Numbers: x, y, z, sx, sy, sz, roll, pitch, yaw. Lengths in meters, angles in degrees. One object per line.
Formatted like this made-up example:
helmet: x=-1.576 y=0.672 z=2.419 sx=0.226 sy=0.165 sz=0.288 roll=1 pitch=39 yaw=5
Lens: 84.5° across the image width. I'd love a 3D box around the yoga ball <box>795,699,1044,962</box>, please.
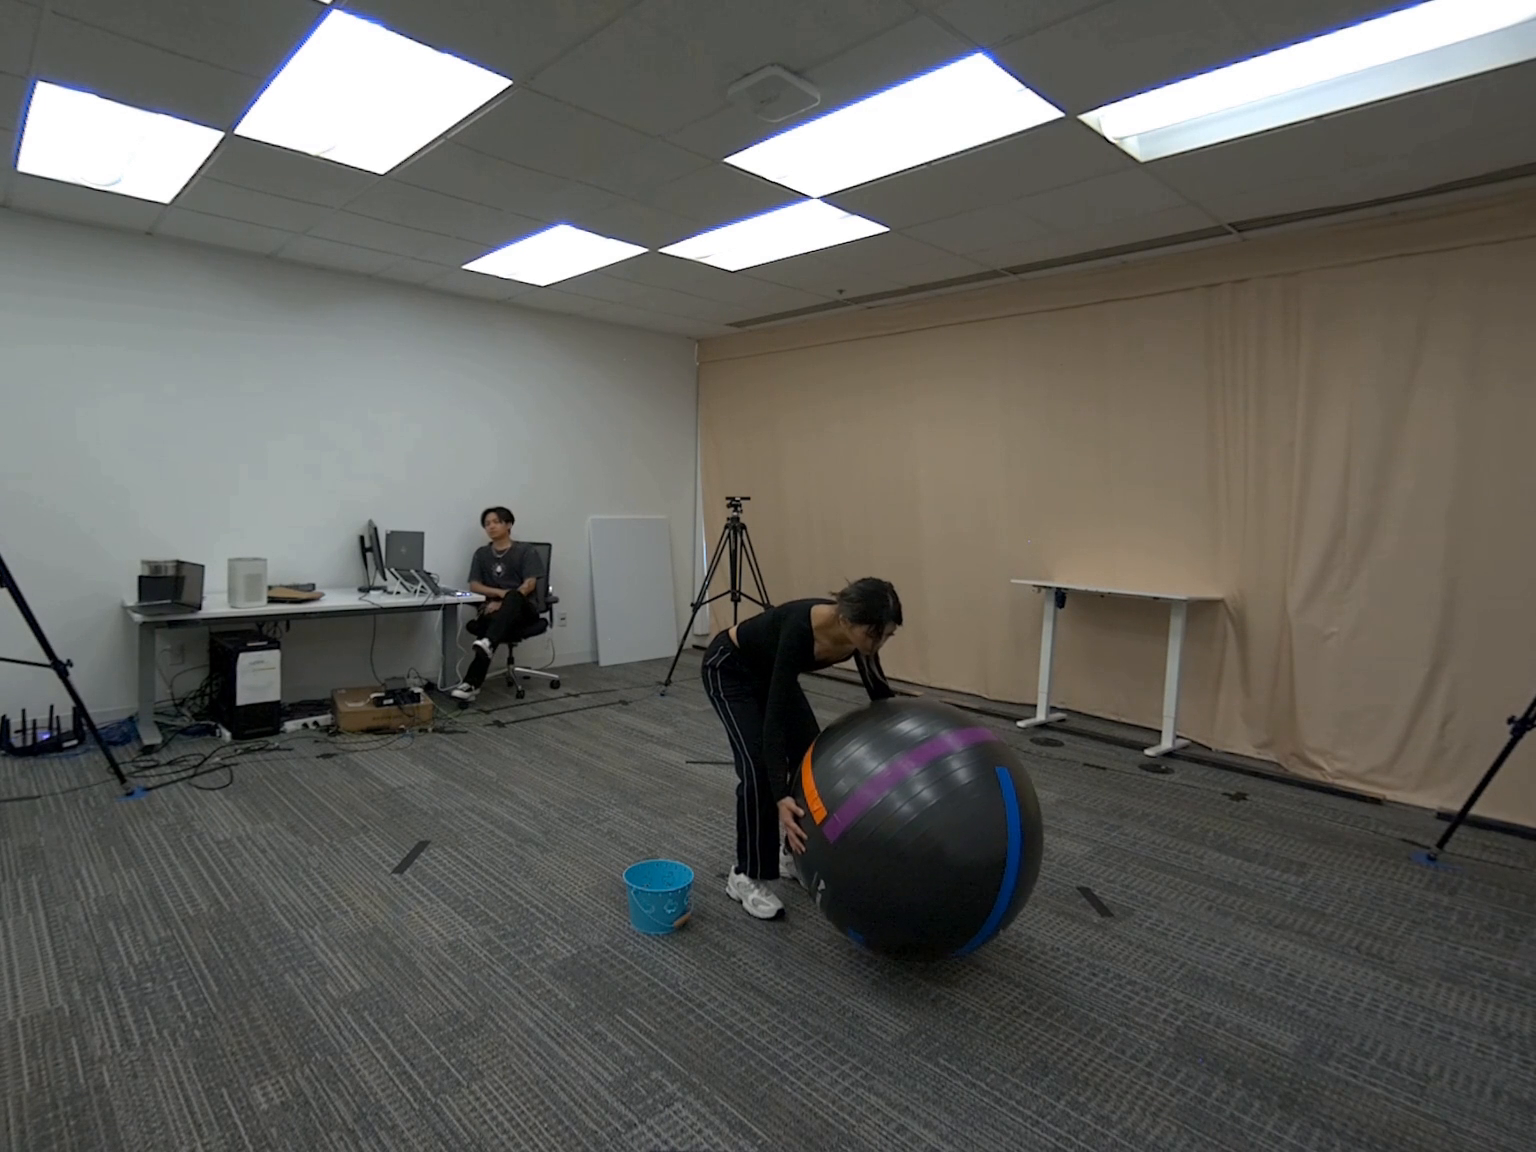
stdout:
yoga ball: x=0.446 y=0.755 z=2.547 sx=0.757 sy=0.756 sz=0.761 roll=1 pitch=4 yaw=-1
